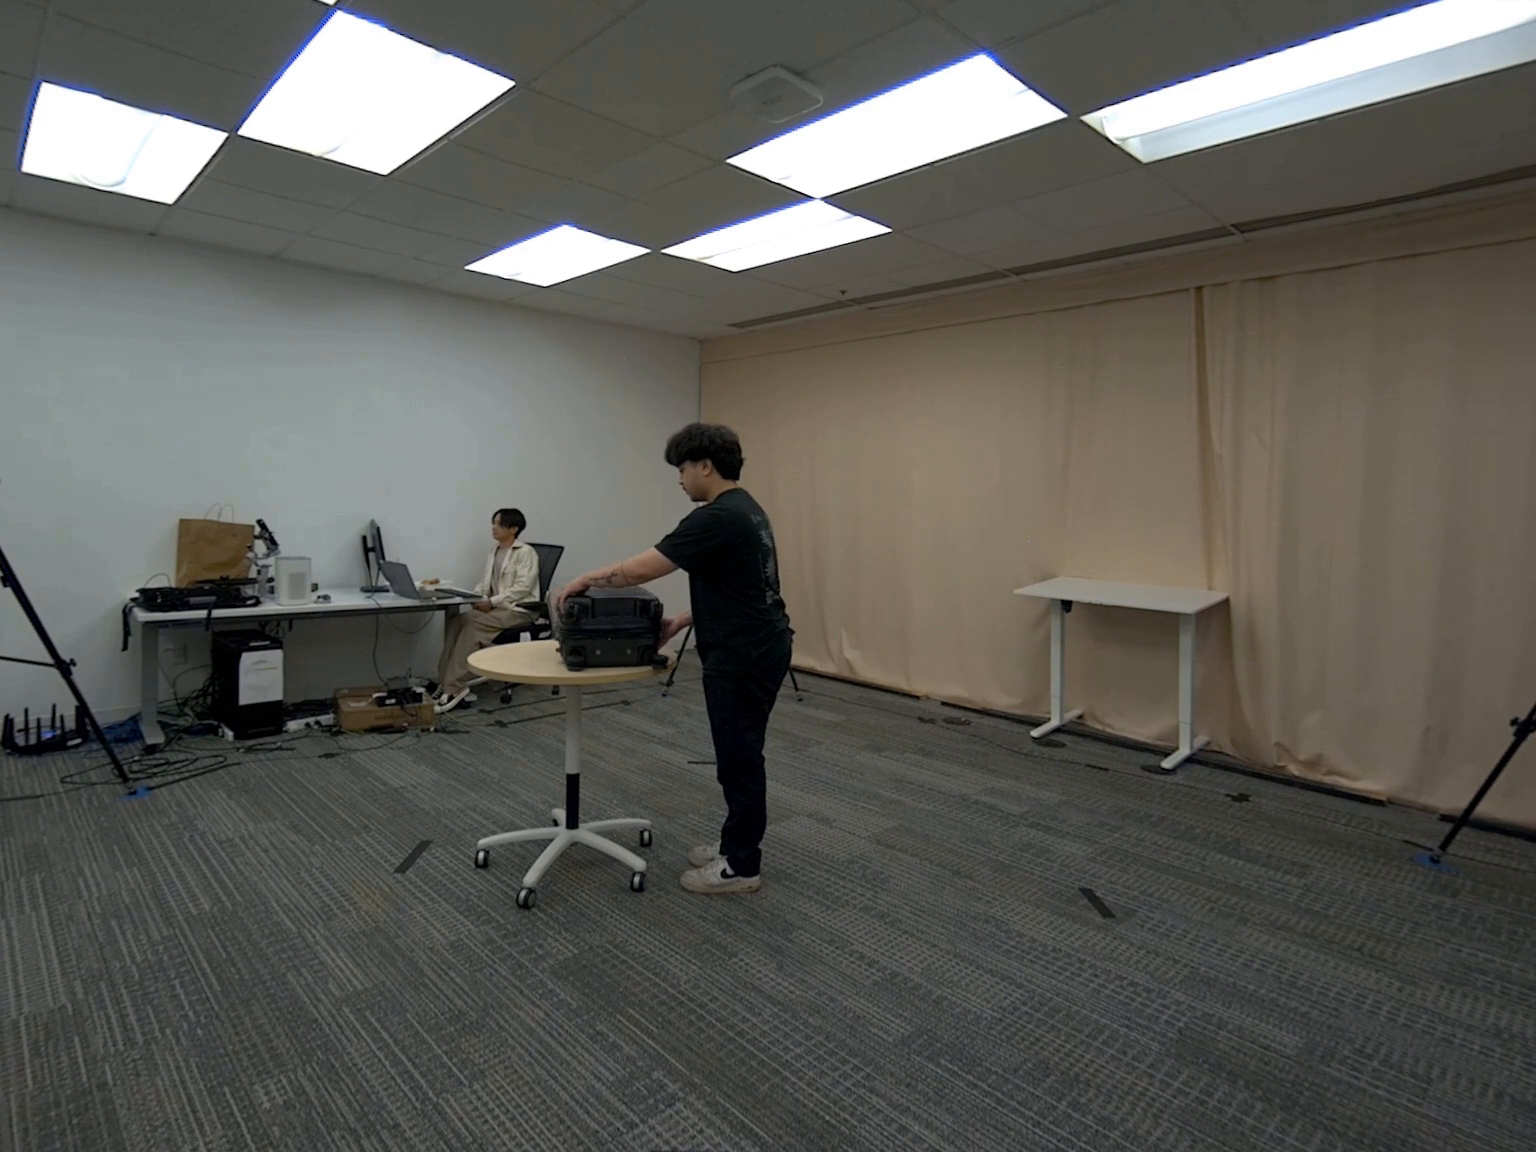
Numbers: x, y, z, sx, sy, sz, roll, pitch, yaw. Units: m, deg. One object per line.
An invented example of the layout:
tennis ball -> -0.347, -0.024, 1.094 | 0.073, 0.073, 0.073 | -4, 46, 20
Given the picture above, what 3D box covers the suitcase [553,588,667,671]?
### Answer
suitcase -> -0.604, 0.180, 3.134 | 0.371, 0.247, 0.557 | -3, 6, -16
